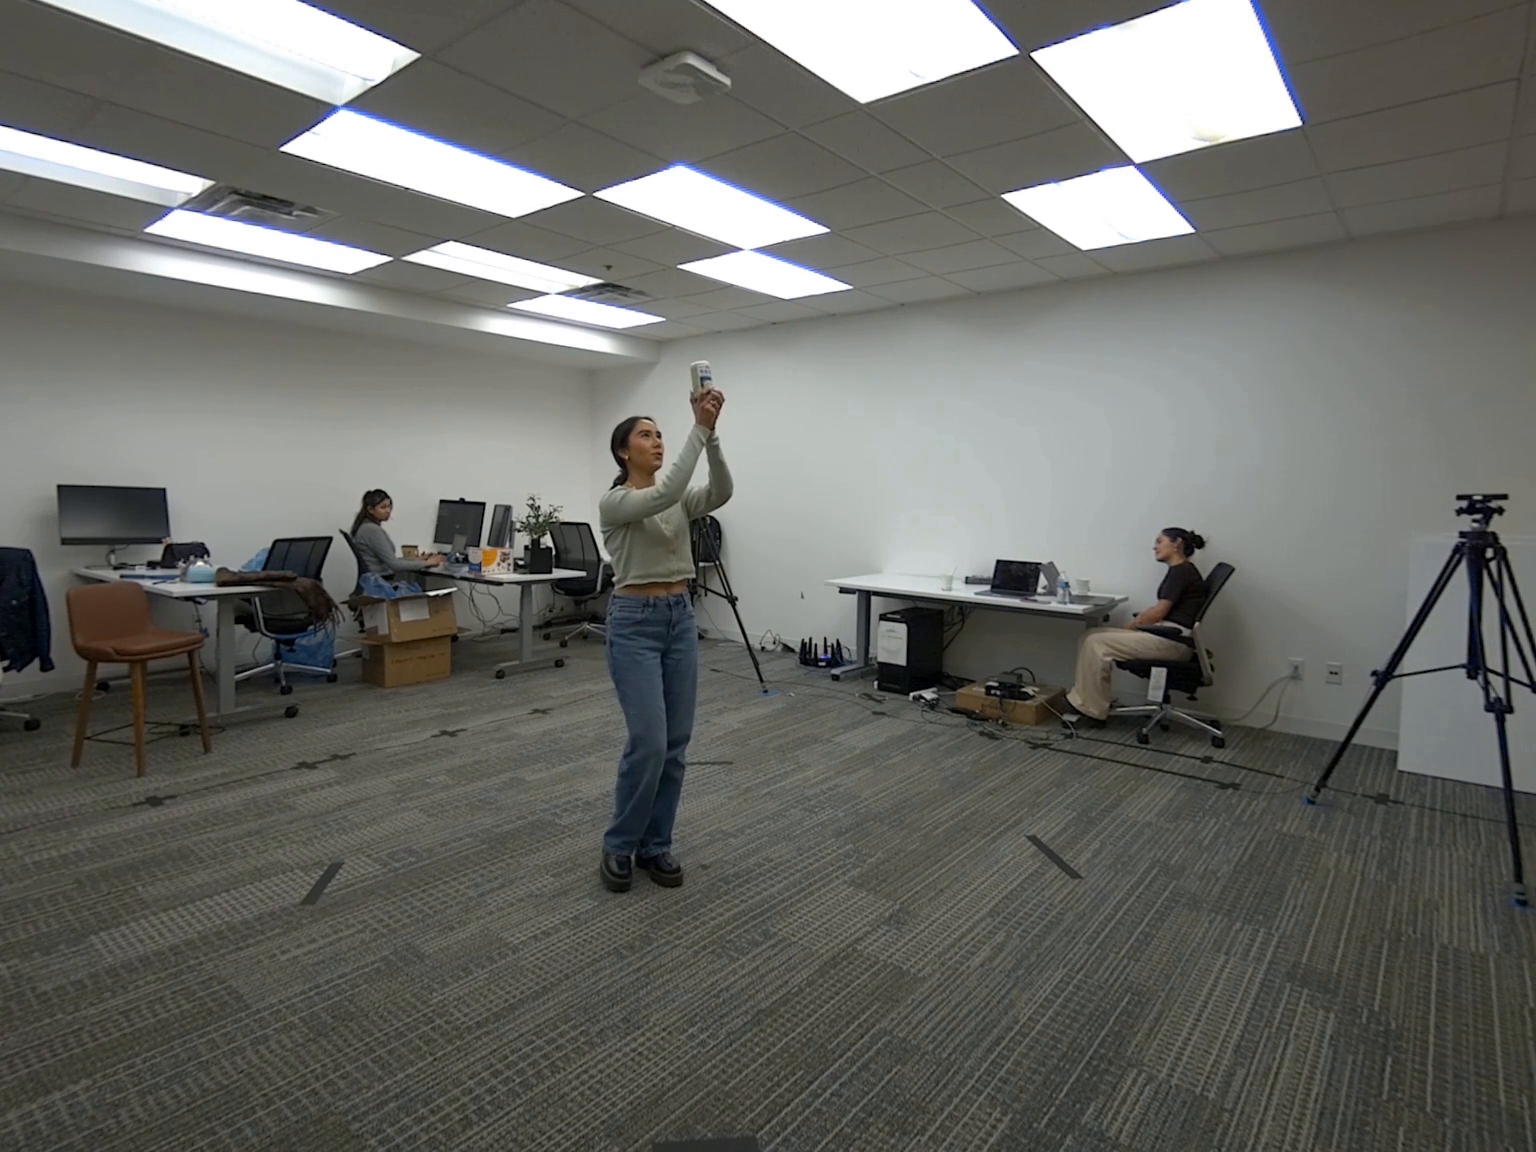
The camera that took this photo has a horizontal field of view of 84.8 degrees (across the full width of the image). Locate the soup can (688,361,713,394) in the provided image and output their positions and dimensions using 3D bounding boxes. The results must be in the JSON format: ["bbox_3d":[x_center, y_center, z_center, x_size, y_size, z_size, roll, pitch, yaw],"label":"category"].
[{"bbox_3d":[-0.225,-0.645,2.807,0.067,0.122,0.067,-7,-3,-2],"label":"soup can"}]
